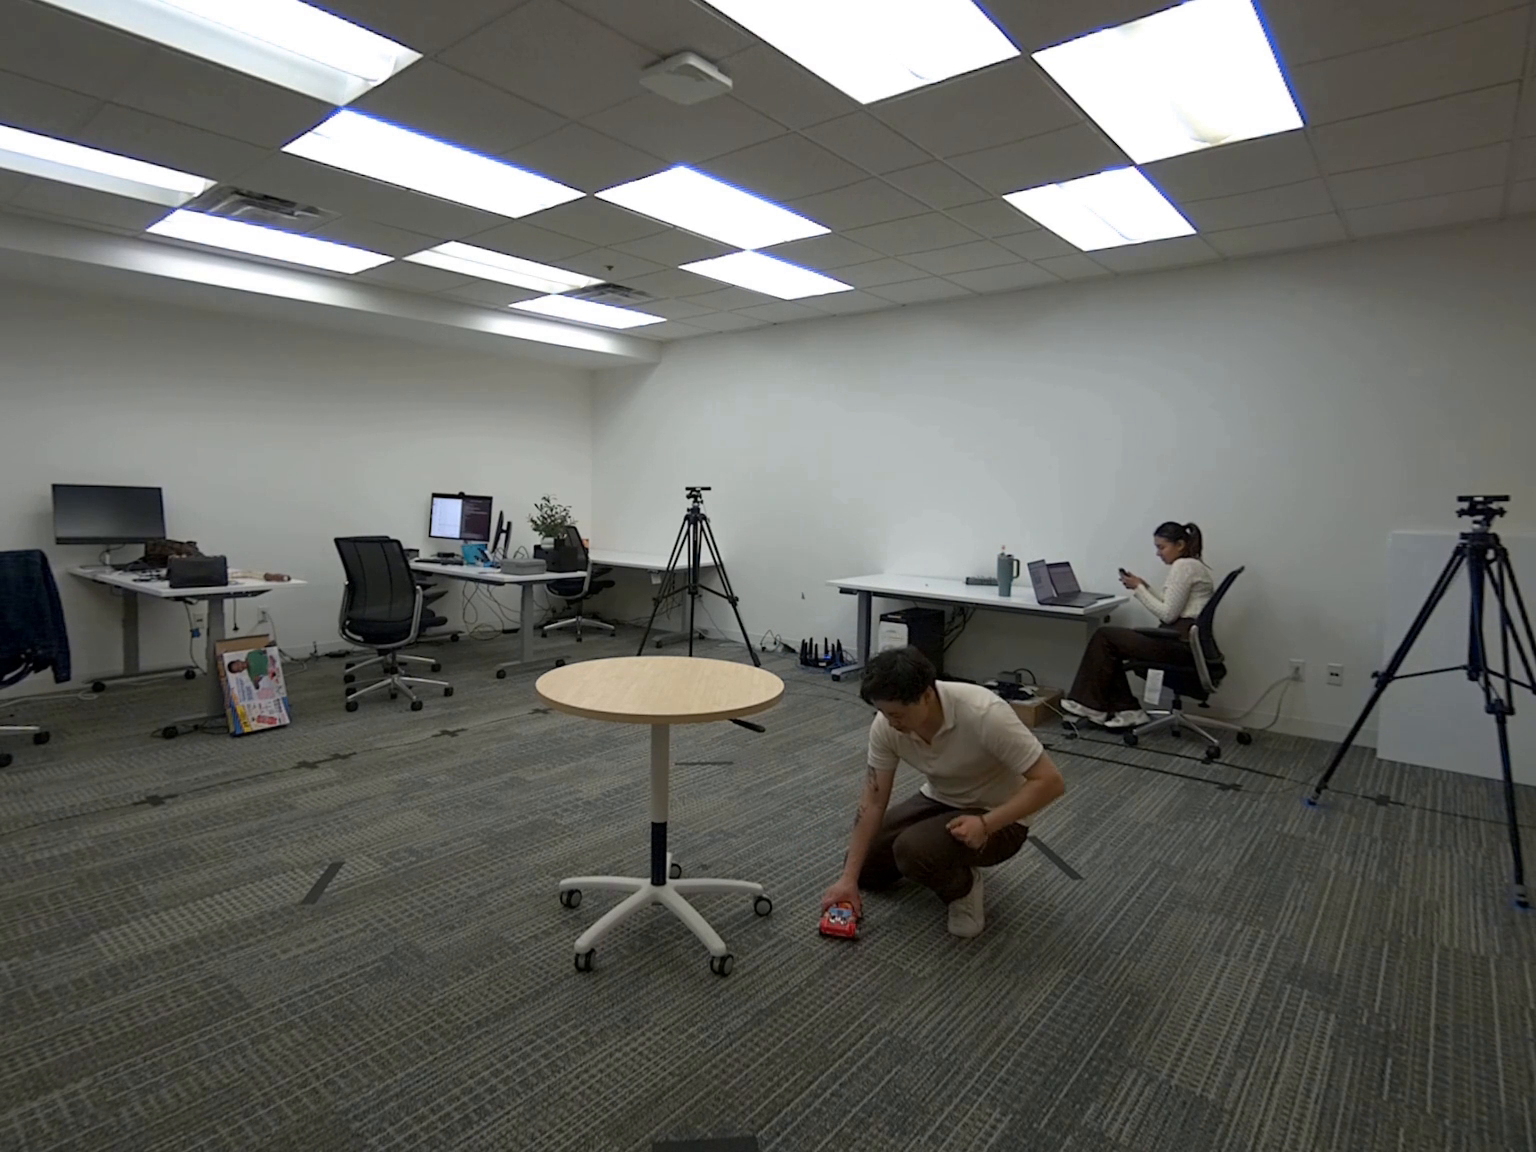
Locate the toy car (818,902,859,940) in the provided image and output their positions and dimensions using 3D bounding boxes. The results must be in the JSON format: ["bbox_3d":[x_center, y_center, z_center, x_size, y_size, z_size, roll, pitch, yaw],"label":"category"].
[{"bbox_3d":[0.239,1.087,2.745,0.132,0.082,0.255,1,17,12],"label":"toy car"}]
